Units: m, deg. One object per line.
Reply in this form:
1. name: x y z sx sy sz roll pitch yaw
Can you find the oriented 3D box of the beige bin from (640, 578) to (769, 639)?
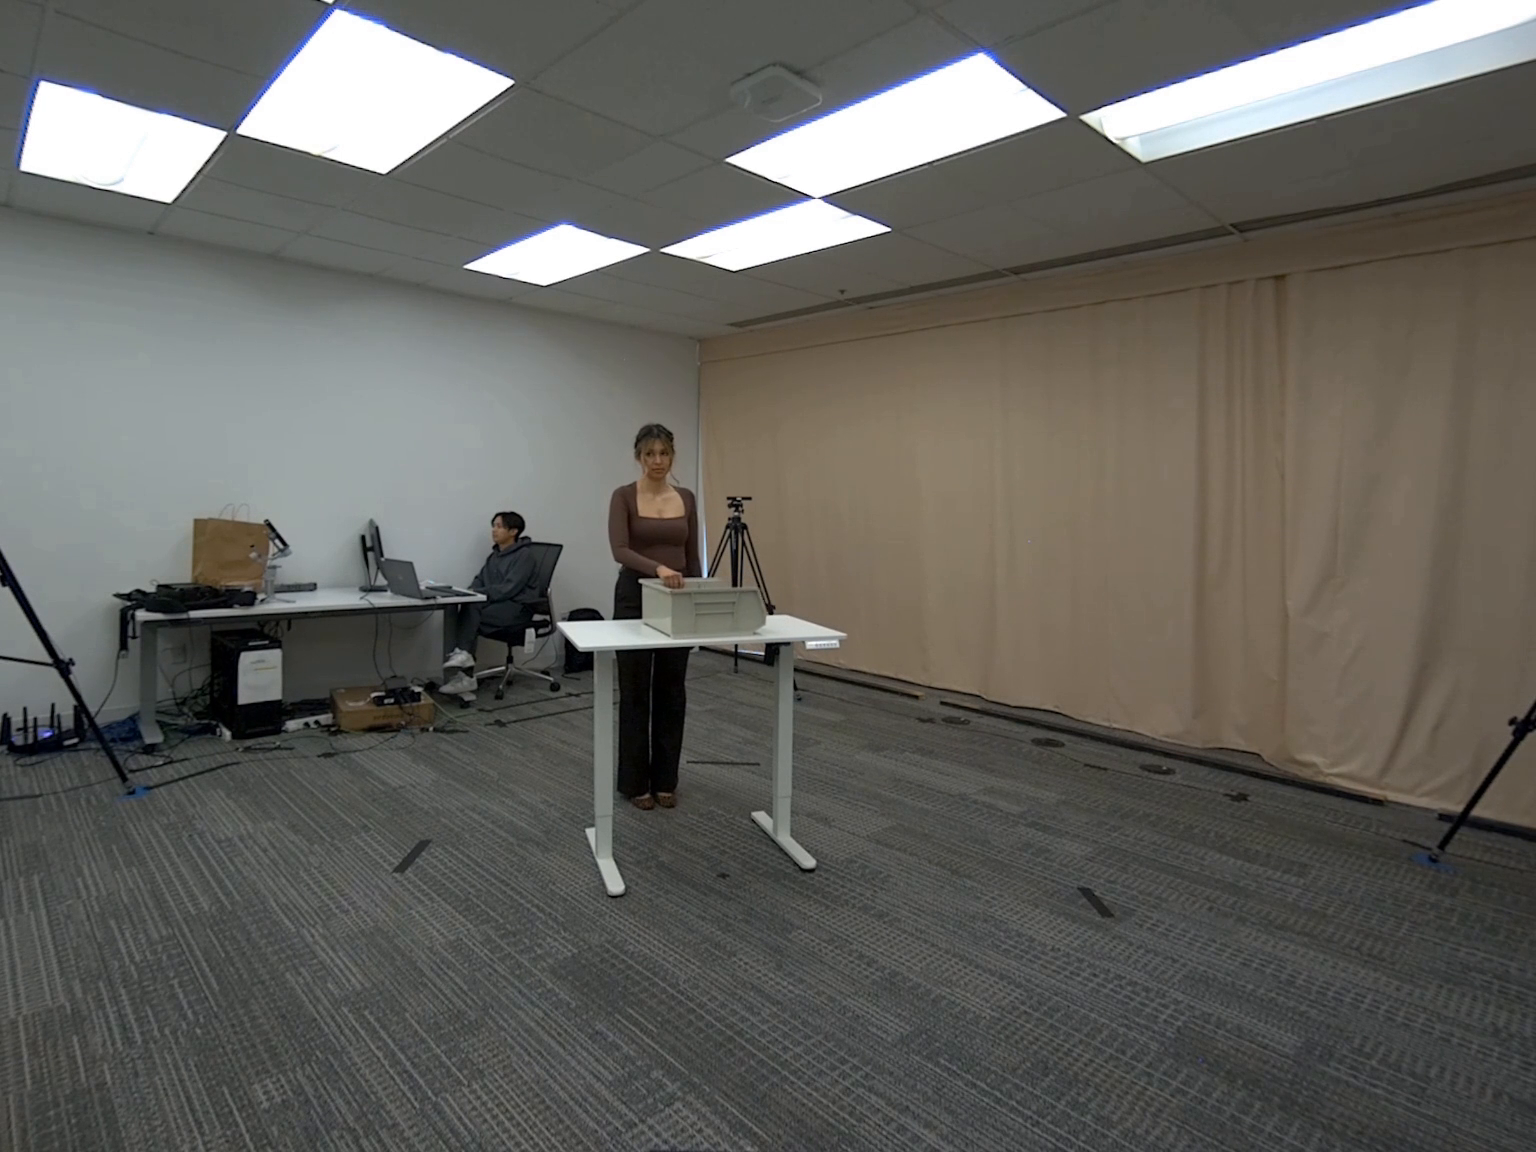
1. beige bin: -0.263 0.118 3.249 0.371 0.188 0.431 -2 6 -23
